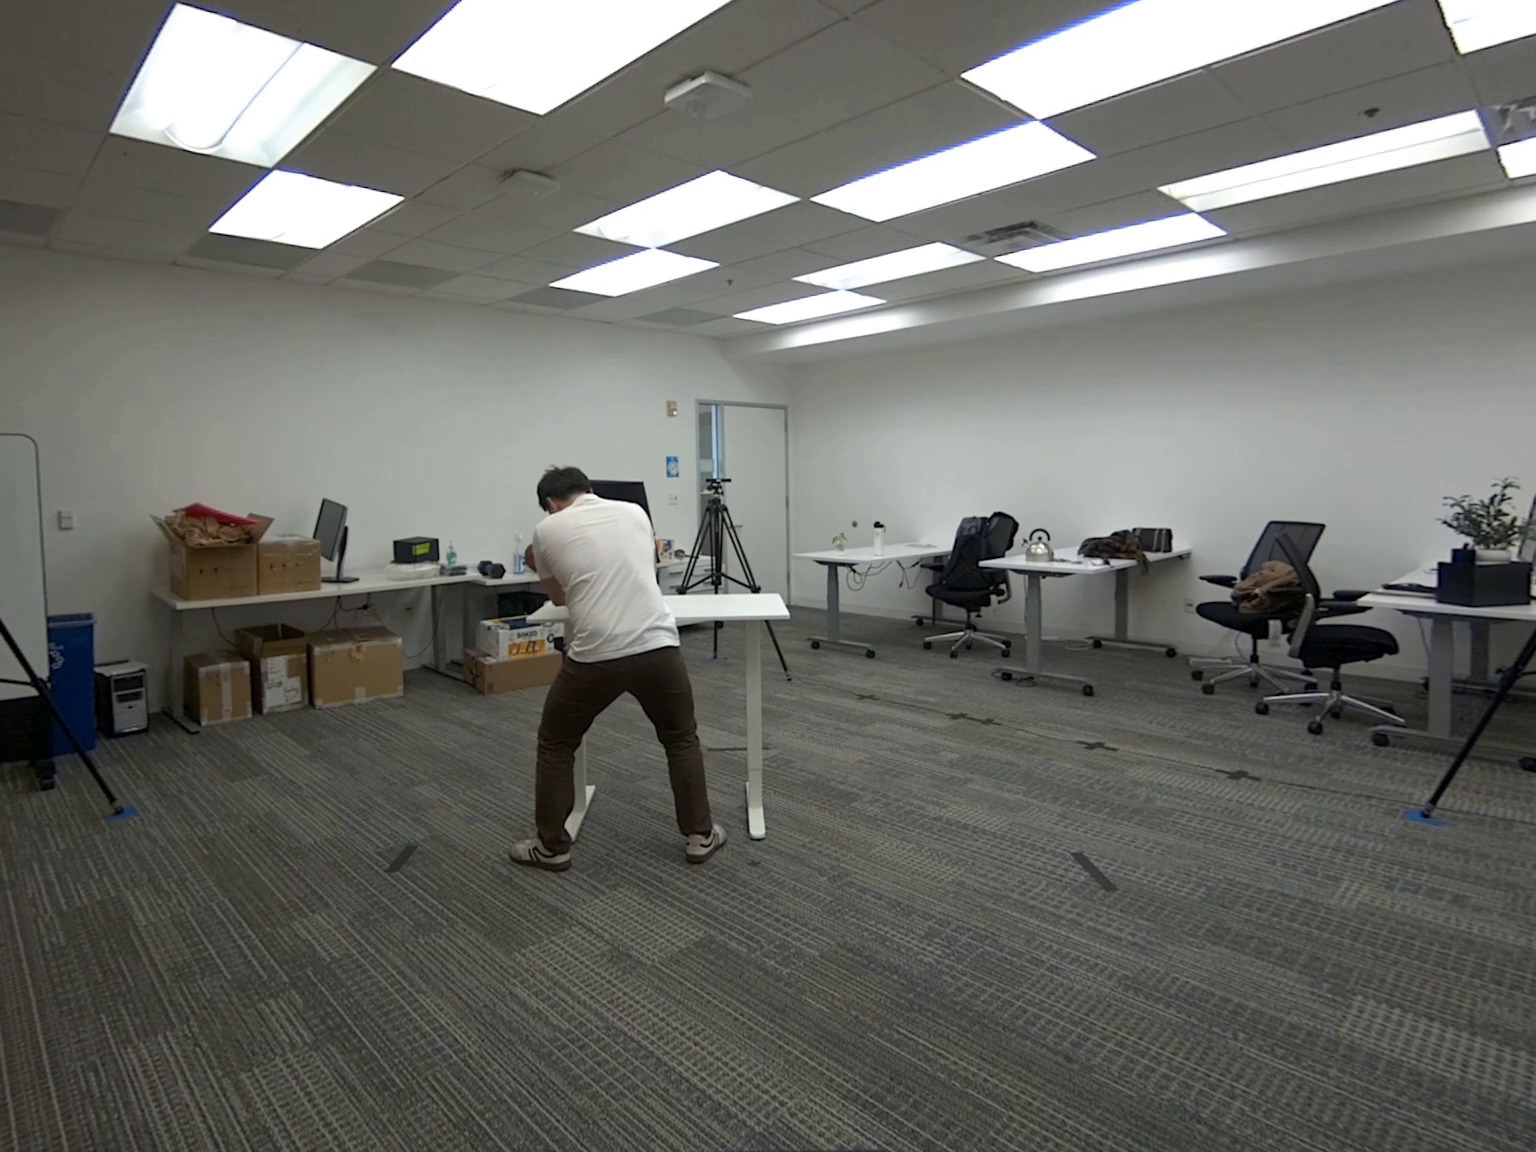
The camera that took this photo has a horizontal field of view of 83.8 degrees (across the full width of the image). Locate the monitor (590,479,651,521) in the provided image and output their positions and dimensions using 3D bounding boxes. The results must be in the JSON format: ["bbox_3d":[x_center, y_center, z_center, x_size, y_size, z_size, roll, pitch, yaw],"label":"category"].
[{"bbox_3d":[-0.716,-0.136,3.547,0.554,0.519,0.183,4,9,30],"label":"monitor"}]
